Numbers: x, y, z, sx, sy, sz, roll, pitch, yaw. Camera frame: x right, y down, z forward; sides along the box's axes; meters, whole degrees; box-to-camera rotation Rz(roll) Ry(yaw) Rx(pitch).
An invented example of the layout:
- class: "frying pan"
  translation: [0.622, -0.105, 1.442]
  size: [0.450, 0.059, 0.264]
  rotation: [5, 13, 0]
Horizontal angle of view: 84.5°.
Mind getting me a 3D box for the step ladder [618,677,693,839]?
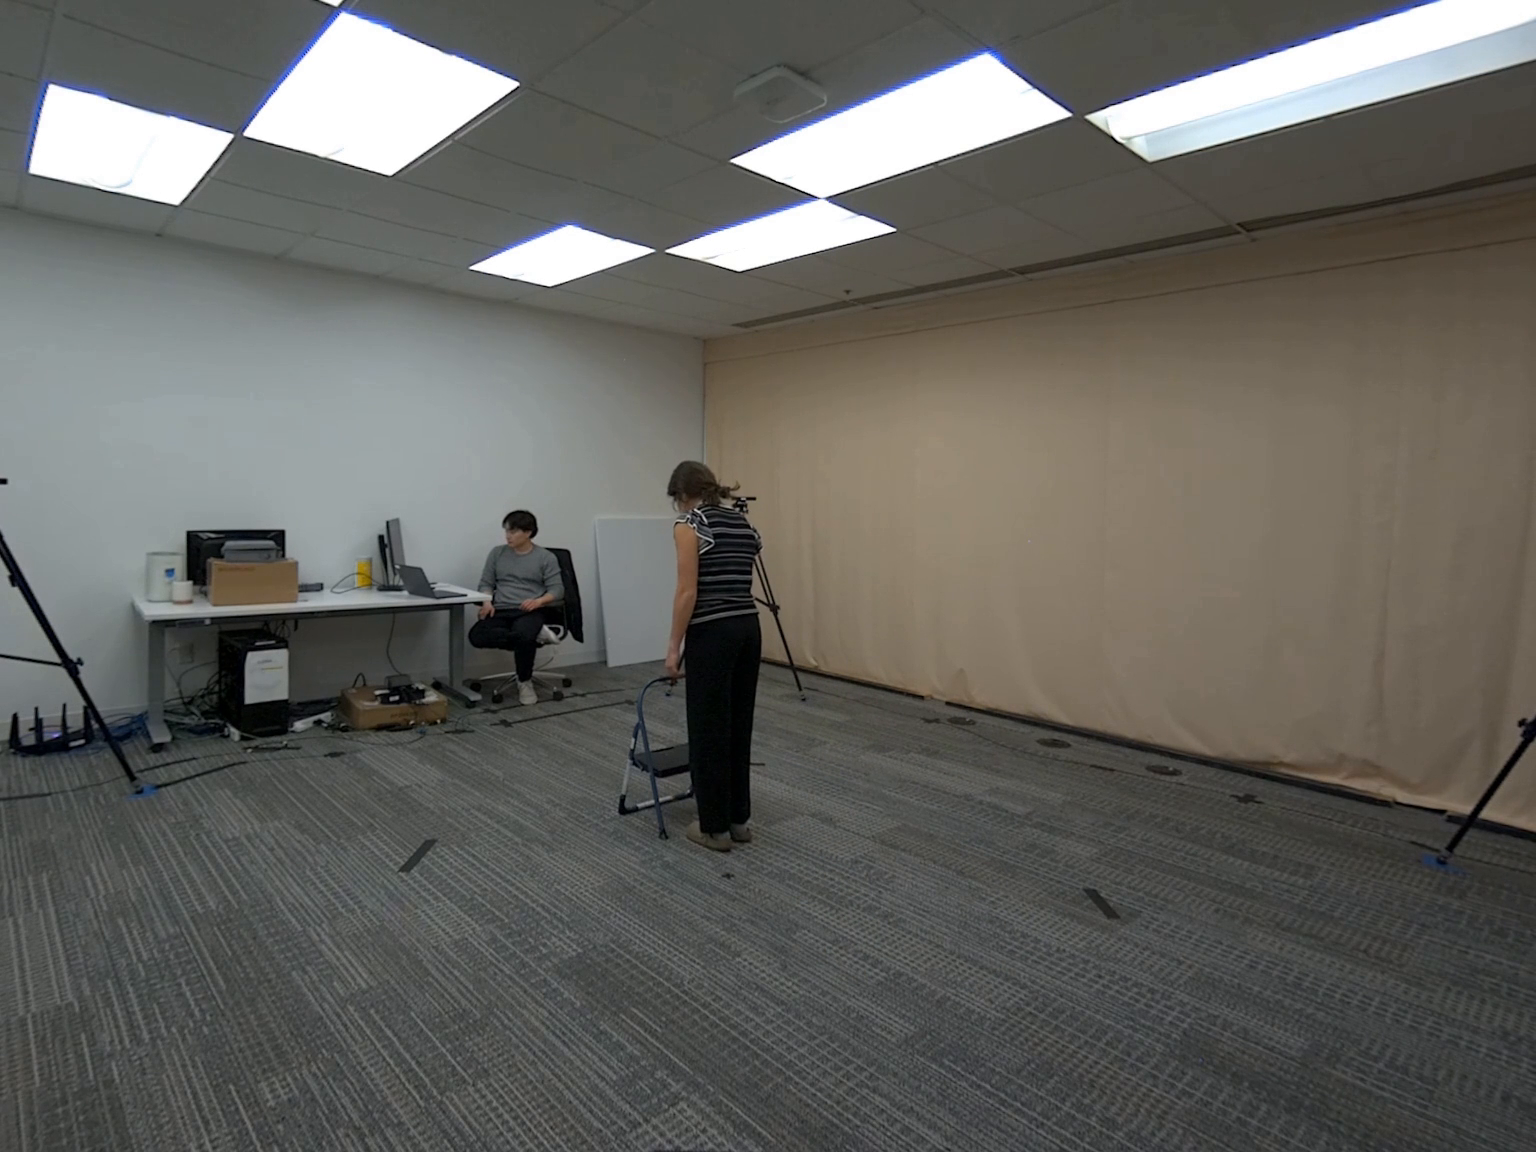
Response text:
- class: "step ladder"
  translation: [-0.393, 0.749, 3.682]
  size: [0.420, 0.605, 0.358]
  rotation: [-1, 4, -43]
